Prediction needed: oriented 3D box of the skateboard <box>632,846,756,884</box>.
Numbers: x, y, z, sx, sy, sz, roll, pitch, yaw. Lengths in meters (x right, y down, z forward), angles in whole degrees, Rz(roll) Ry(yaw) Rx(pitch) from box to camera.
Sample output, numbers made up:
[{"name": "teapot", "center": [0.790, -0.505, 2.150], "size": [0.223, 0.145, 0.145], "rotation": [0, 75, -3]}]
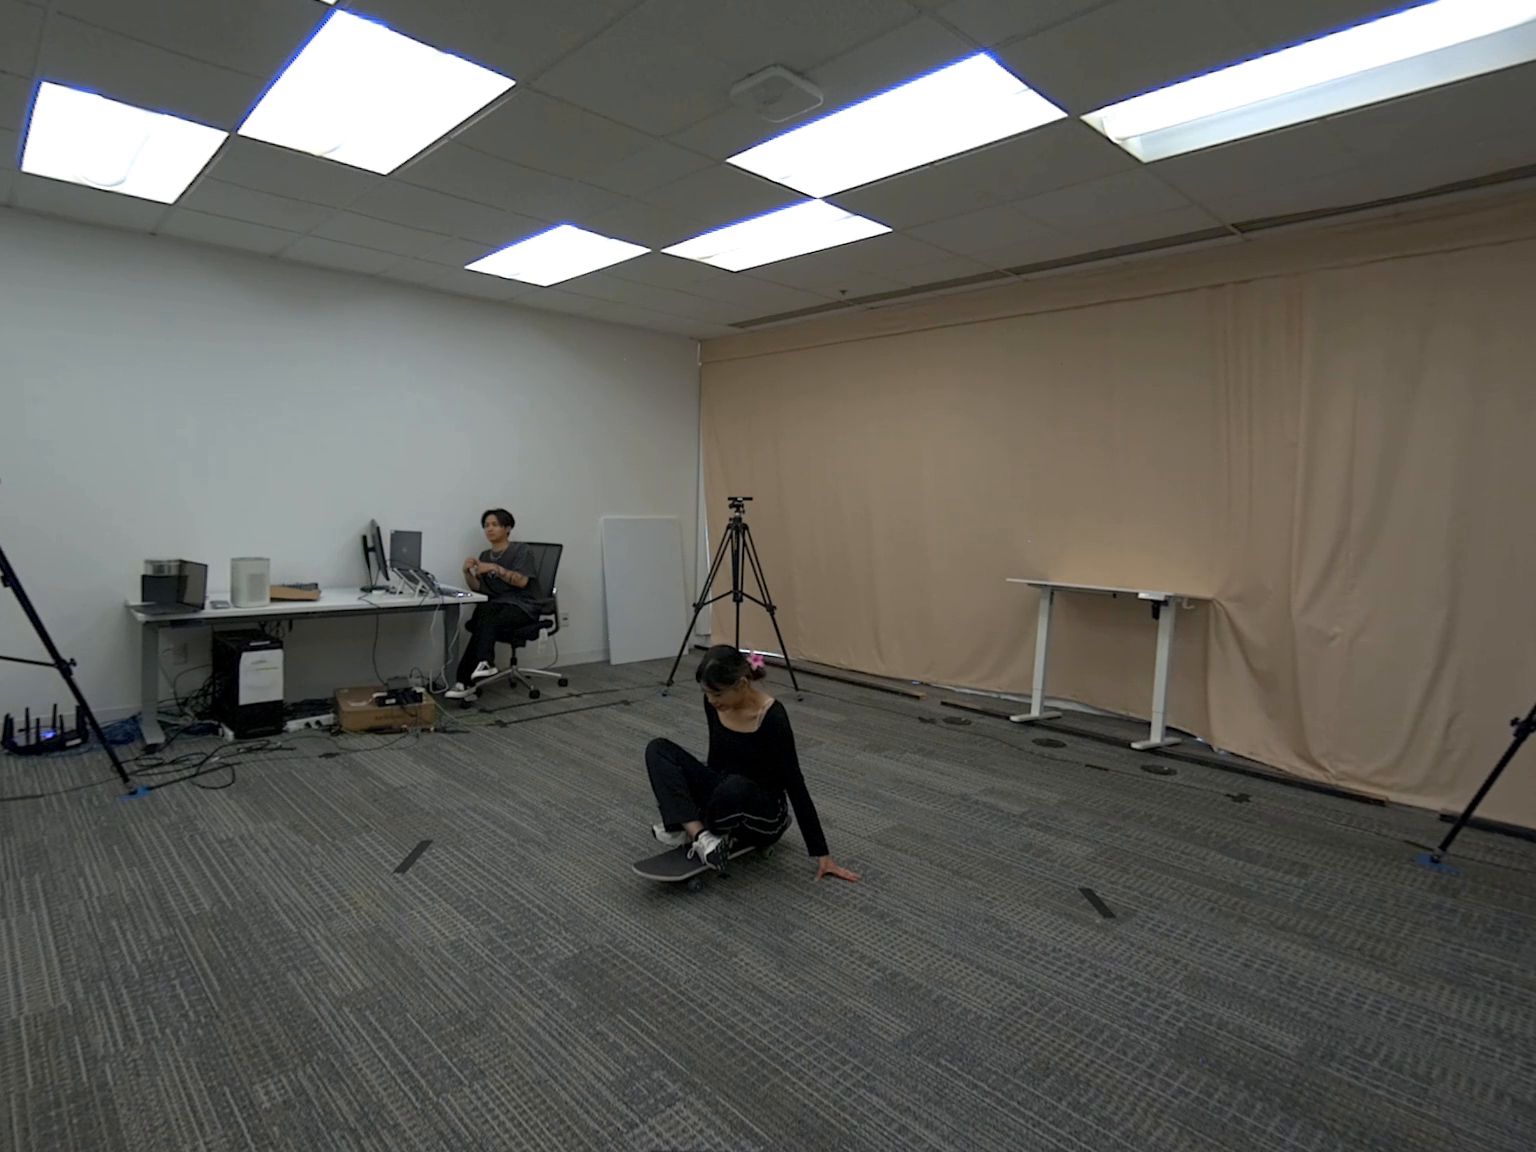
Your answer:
[{"name": "skateboard", "center": [-0.182, 1.039, 3.162], "size": [0.198, 0.110, 0.767], "rotation": [4, 4, 39]}]
